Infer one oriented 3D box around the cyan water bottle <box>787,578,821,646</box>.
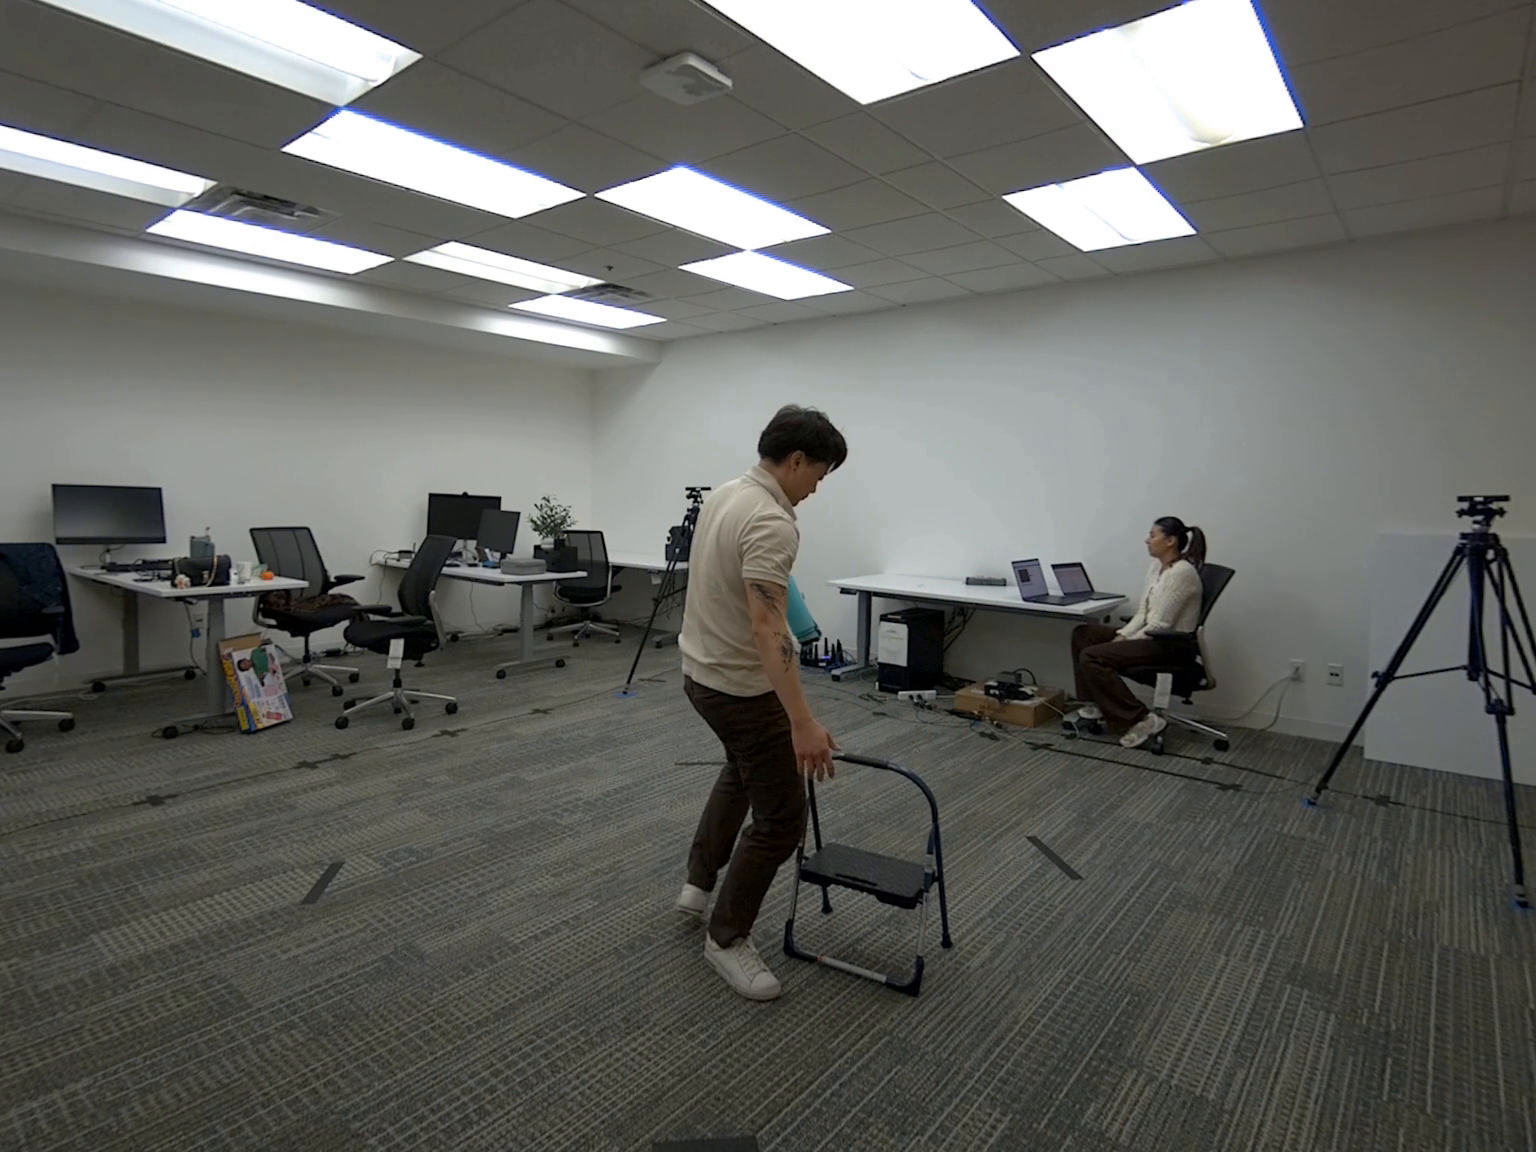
[{"bbox_3d":[0.098,0.131,3.032,0.092,0.285,0.092,-23,-3,-3],"label":"cyan water bottle"}]
